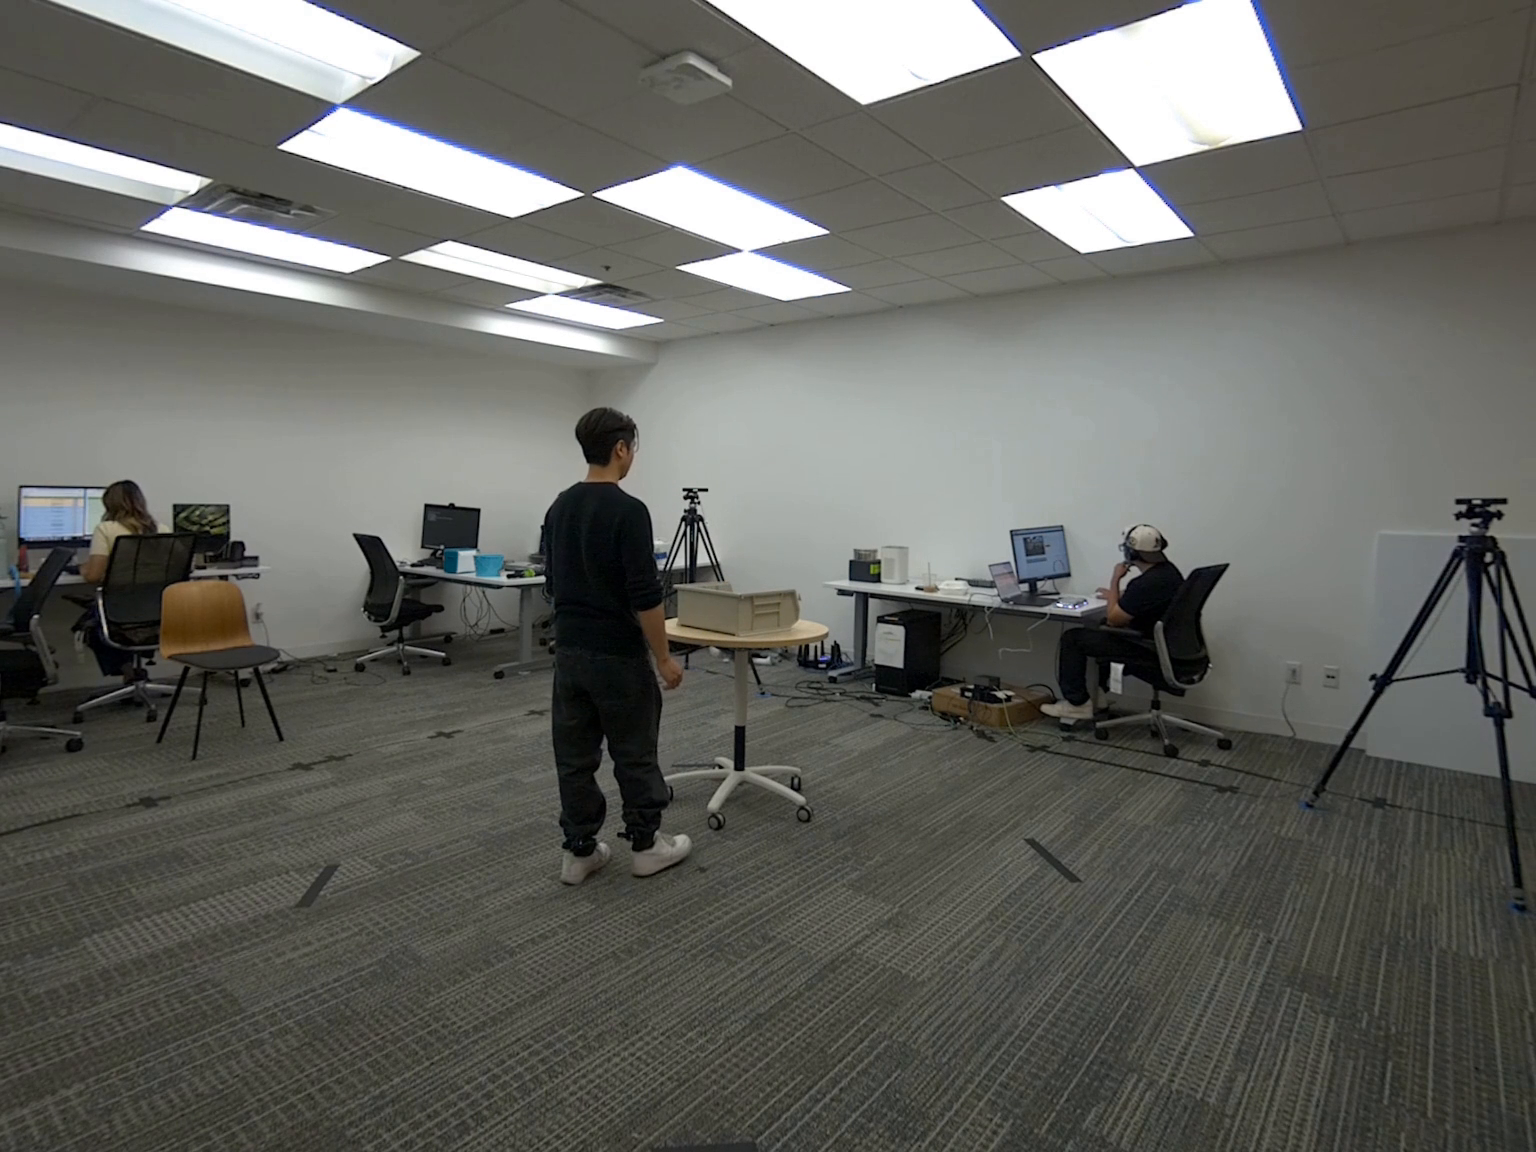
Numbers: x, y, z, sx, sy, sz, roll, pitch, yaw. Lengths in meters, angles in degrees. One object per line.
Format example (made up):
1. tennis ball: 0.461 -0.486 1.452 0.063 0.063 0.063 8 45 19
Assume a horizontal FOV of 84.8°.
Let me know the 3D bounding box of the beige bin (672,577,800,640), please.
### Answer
1. beige bin: -0.148 0.132 3.746 0.366 0.188 0.437 -6 9 -44
